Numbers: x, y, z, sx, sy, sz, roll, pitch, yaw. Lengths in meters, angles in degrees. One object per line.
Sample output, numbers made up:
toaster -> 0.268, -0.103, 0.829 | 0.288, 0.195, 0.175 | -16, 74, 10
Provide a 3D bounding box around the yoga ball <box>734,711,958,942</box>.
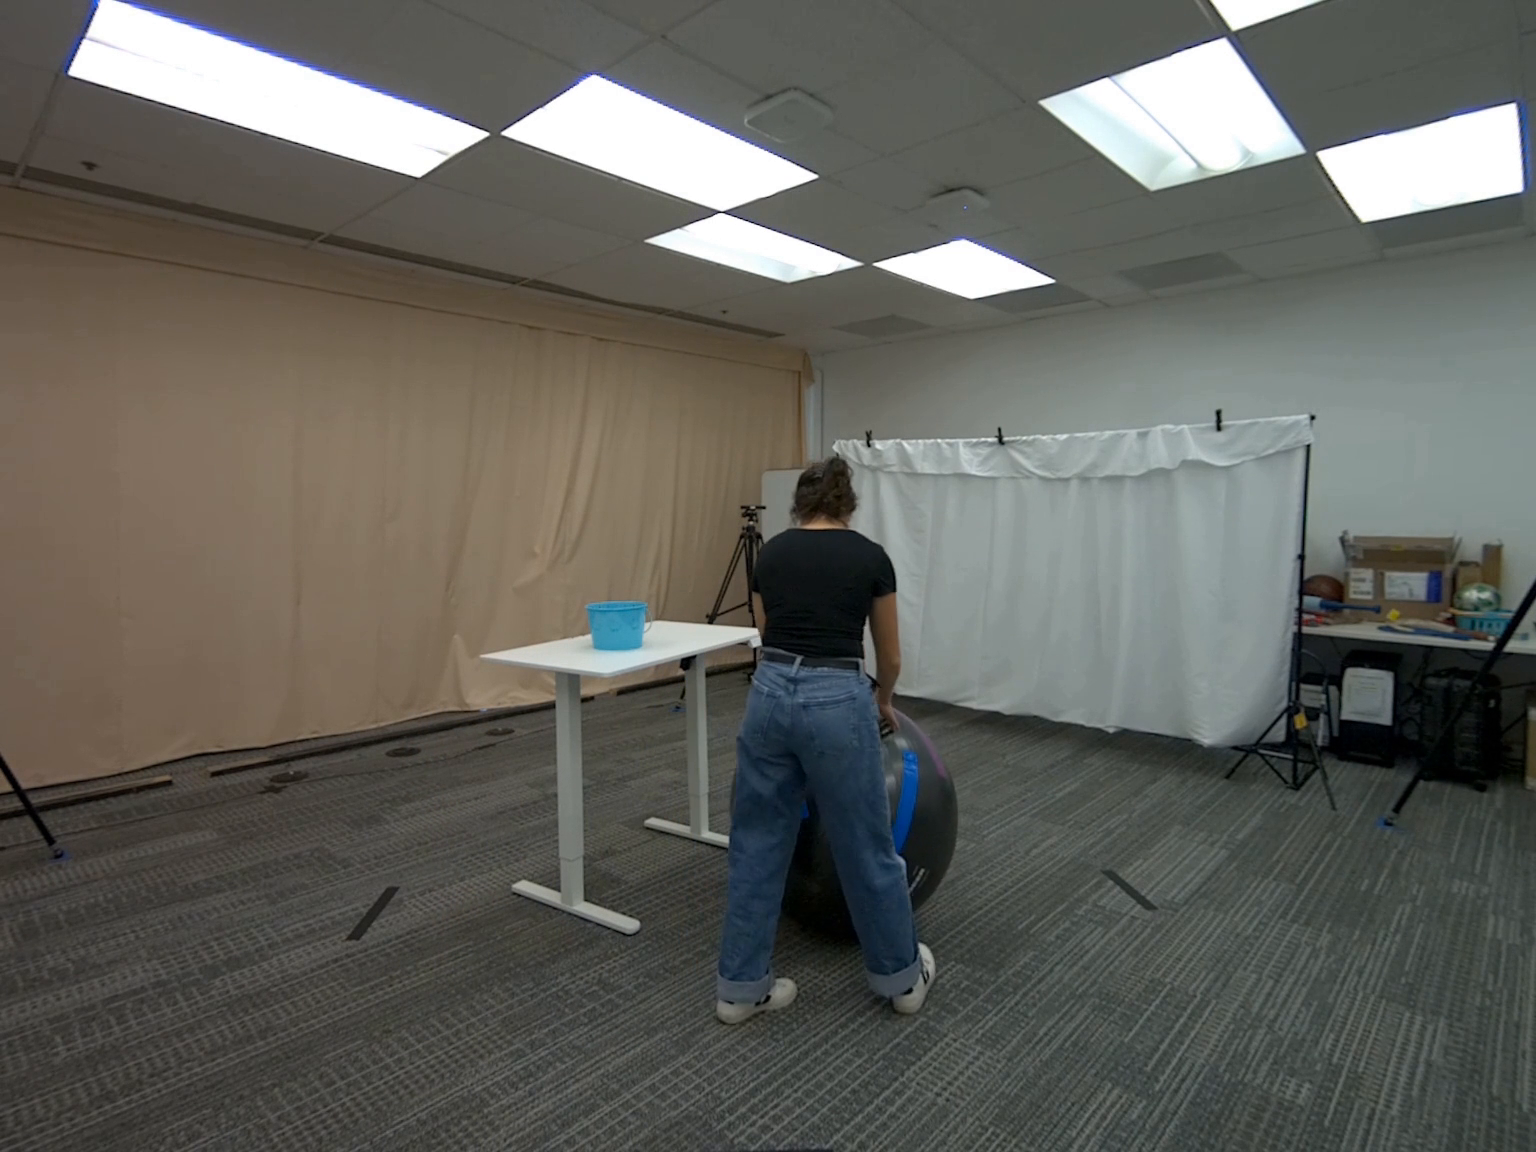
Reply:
yoga ball -> 0.256, 0.792, 2.827 | 0.757, 0.756, 0.760 | 0, 4, -2
